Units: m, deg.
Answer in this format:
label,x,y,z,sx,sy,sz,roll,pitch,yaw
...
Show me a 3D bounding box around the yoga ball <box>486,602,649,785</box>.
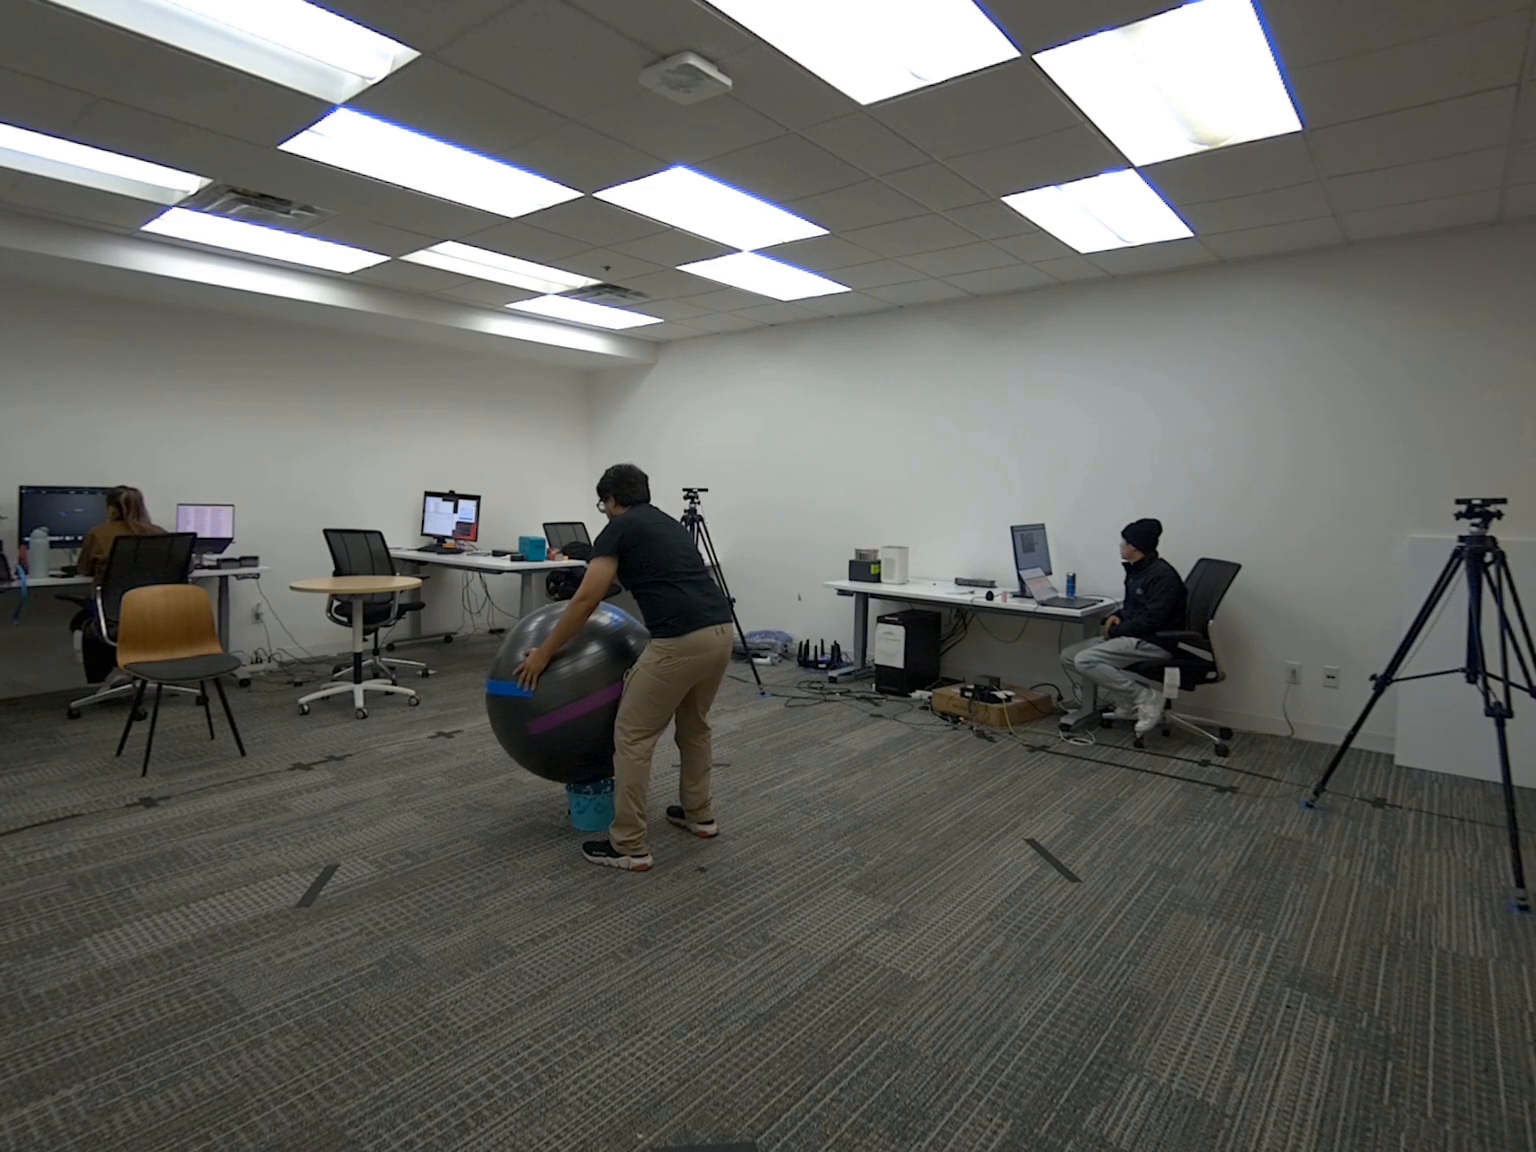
label,x,y,z,sx,sy,sz,roll,pitch,yaw
yoga ball,-0.818,0.482,3.570,0.757,0.756,0.761,1,4,-2
